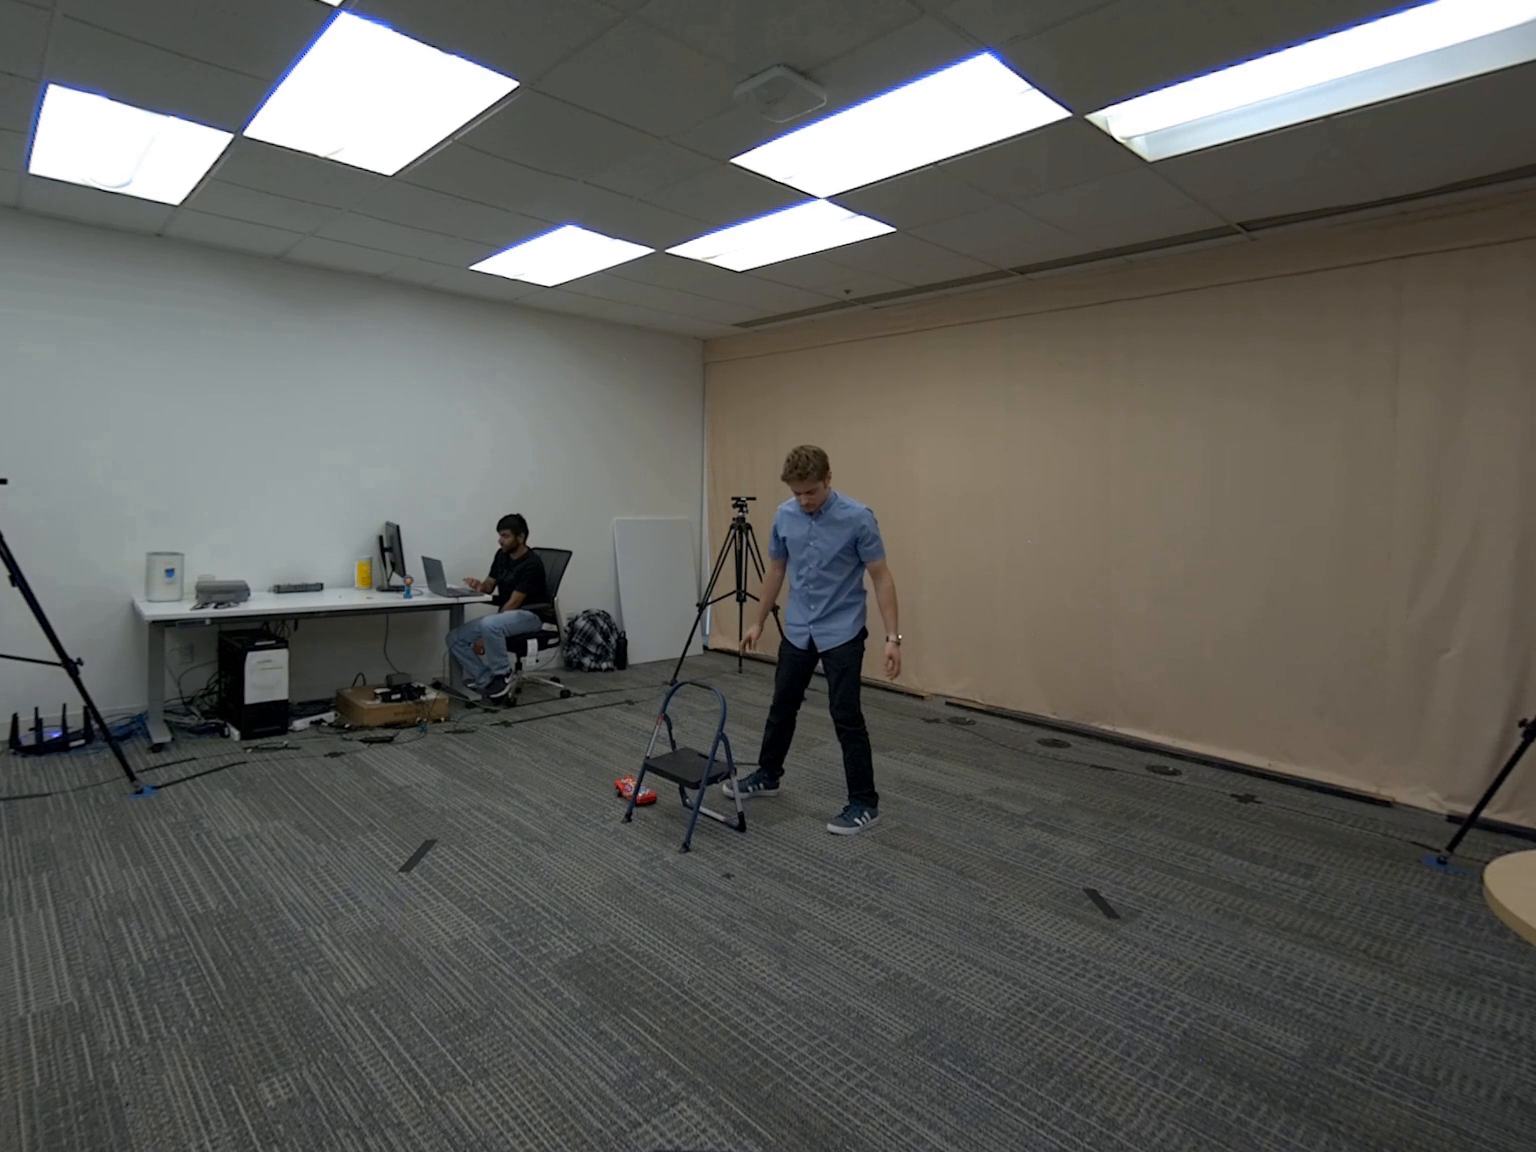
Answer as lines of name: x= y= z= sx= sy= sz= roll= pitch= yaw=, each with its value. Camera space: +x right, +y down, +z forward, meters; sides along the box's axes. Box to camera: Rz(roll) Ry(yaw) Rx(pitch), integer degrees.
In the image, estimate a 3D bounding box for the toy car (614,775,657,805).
toy car: x=-0.626 y=0.994 z=3.889 sx=0.127 sy=0.082 sz=0.262 roll=-1 pitch=16 yaw=-35
